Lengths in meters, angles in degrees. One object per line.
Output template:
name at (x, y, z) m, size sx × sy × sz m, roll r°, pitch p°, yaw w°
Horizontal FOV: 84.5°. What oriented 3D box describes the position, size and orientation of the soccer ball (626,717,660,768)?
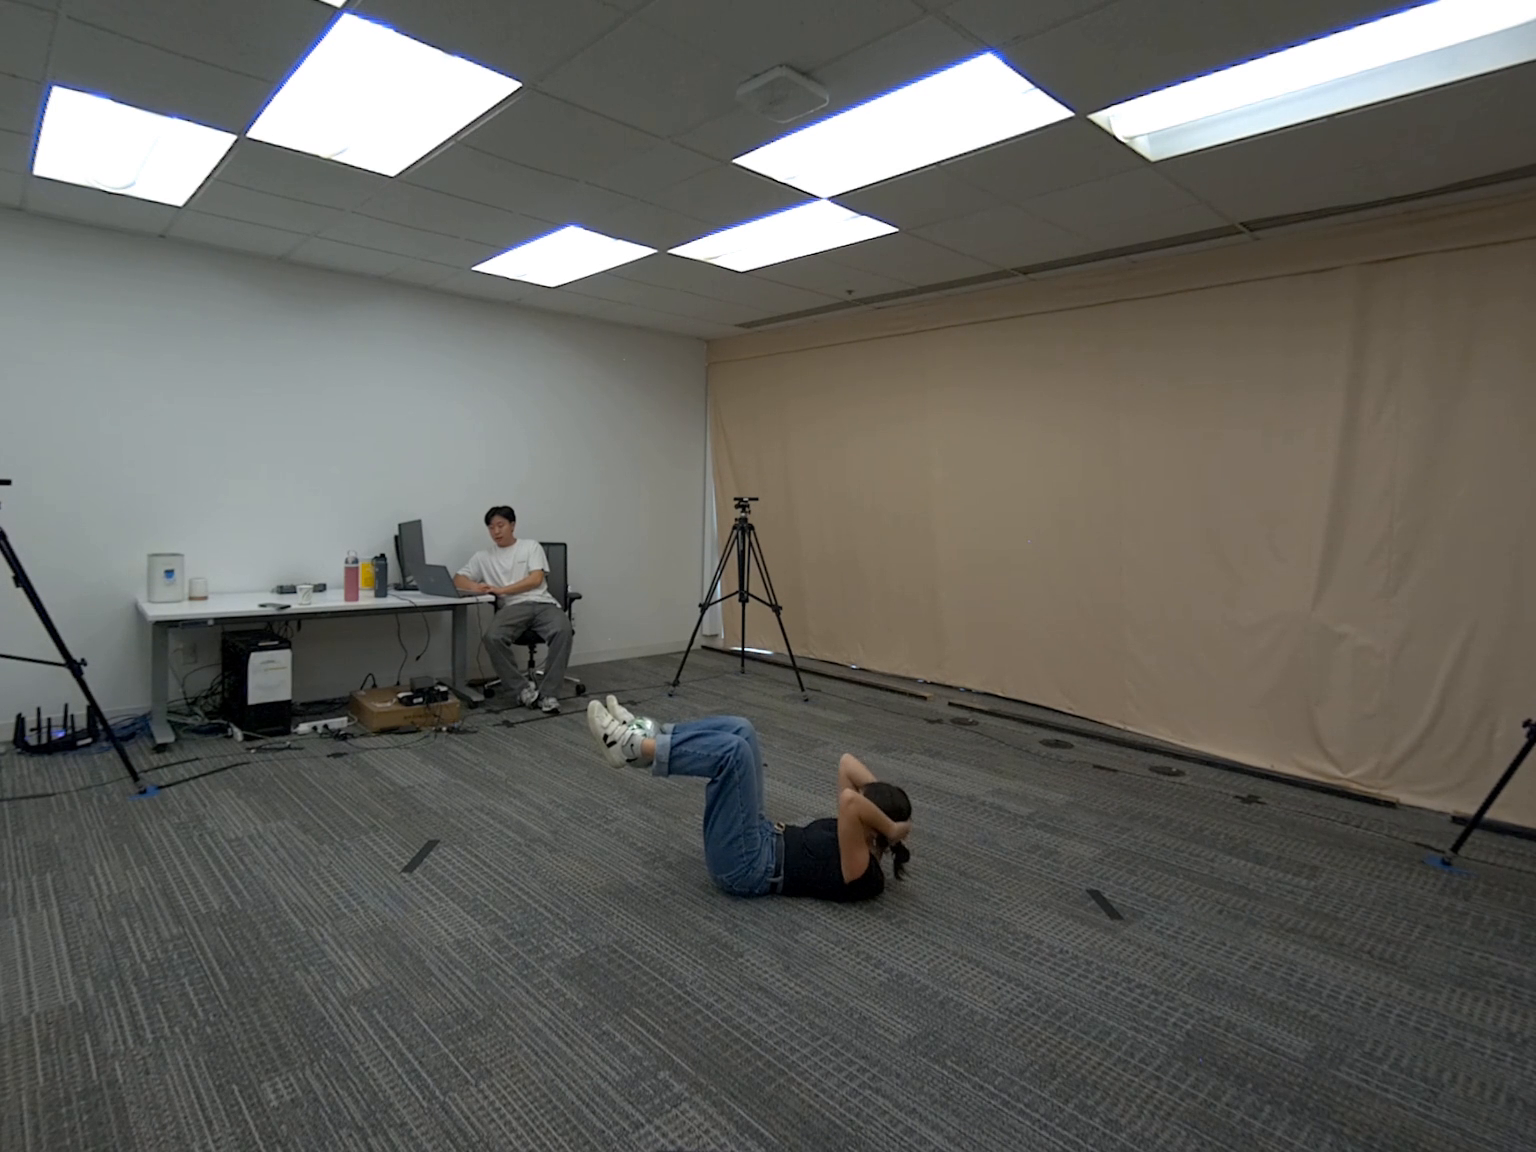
soccer ball at (-0.479, 0.624, 3.096) m, size 0.187 × 0.186 × 0.188 m, roll 1°, pitch 7°, yaw -1°
